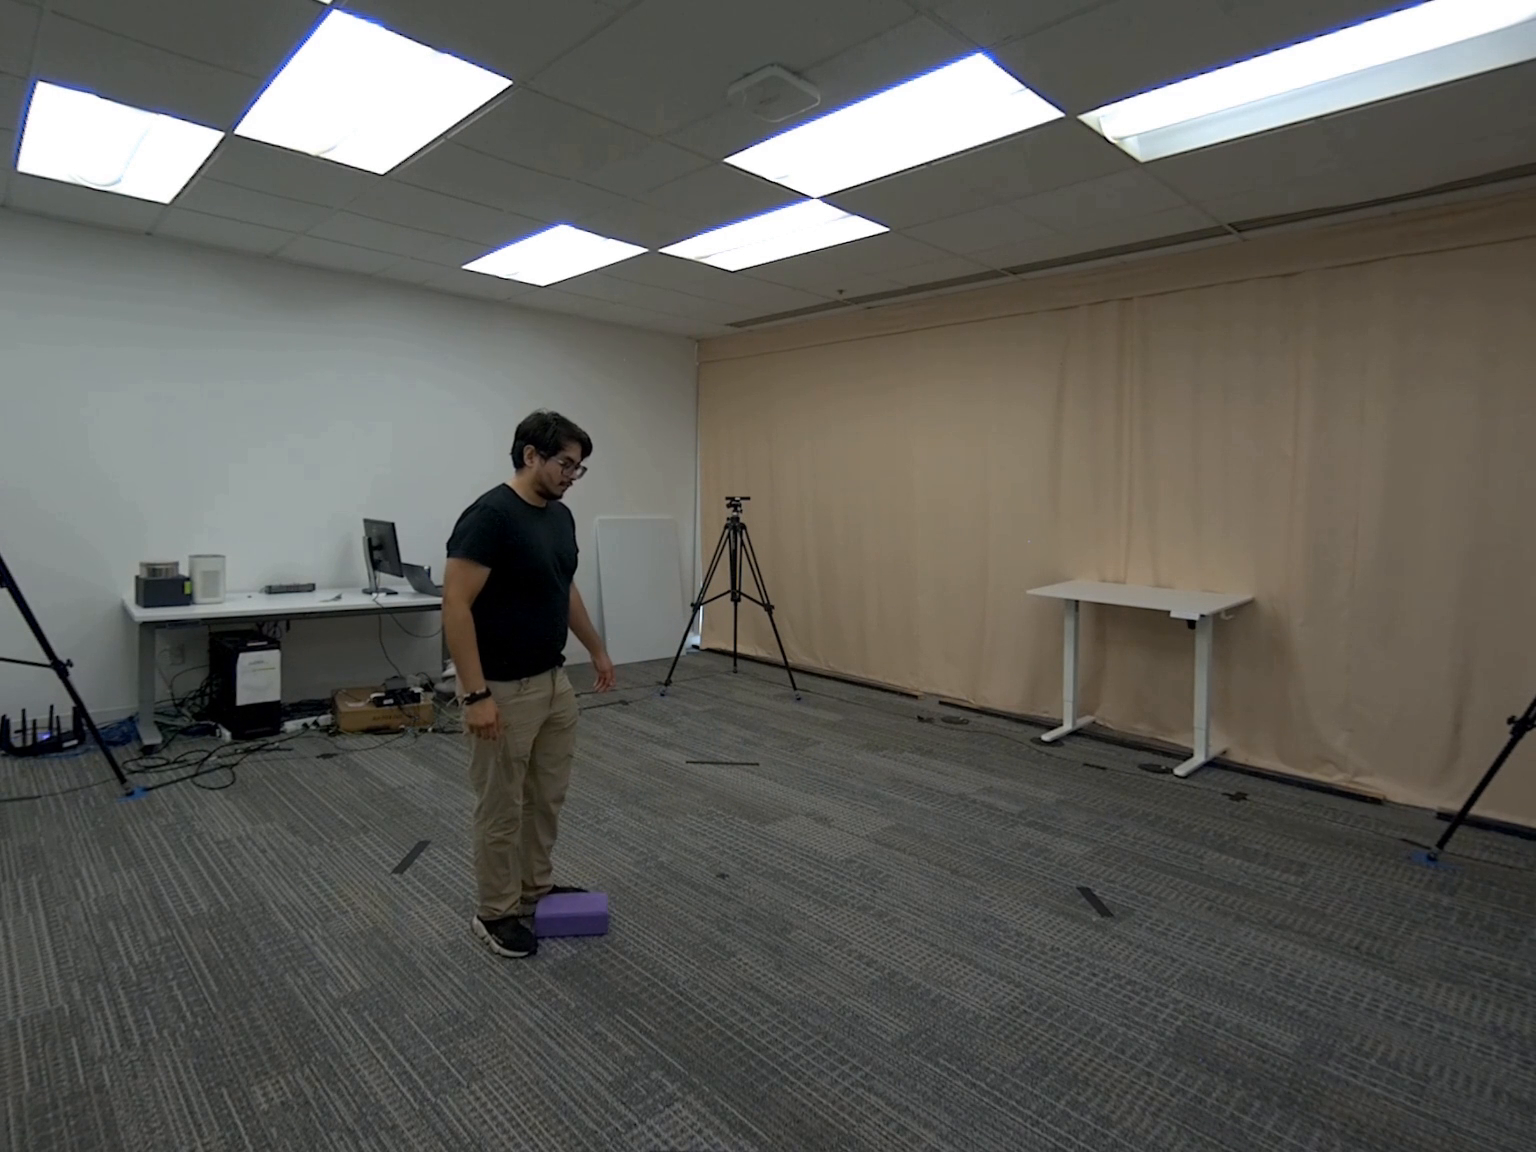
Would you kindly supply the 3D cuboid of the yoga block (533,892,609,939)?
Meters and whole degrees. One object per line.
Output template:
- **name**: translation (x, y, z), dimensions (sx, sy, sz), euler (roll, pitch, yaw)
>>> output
- **yoga block**: translation (-0.640, 1.098, 2.715), dimensions (0.228, 0.076, 0.150), euler (2, 5, -8)
